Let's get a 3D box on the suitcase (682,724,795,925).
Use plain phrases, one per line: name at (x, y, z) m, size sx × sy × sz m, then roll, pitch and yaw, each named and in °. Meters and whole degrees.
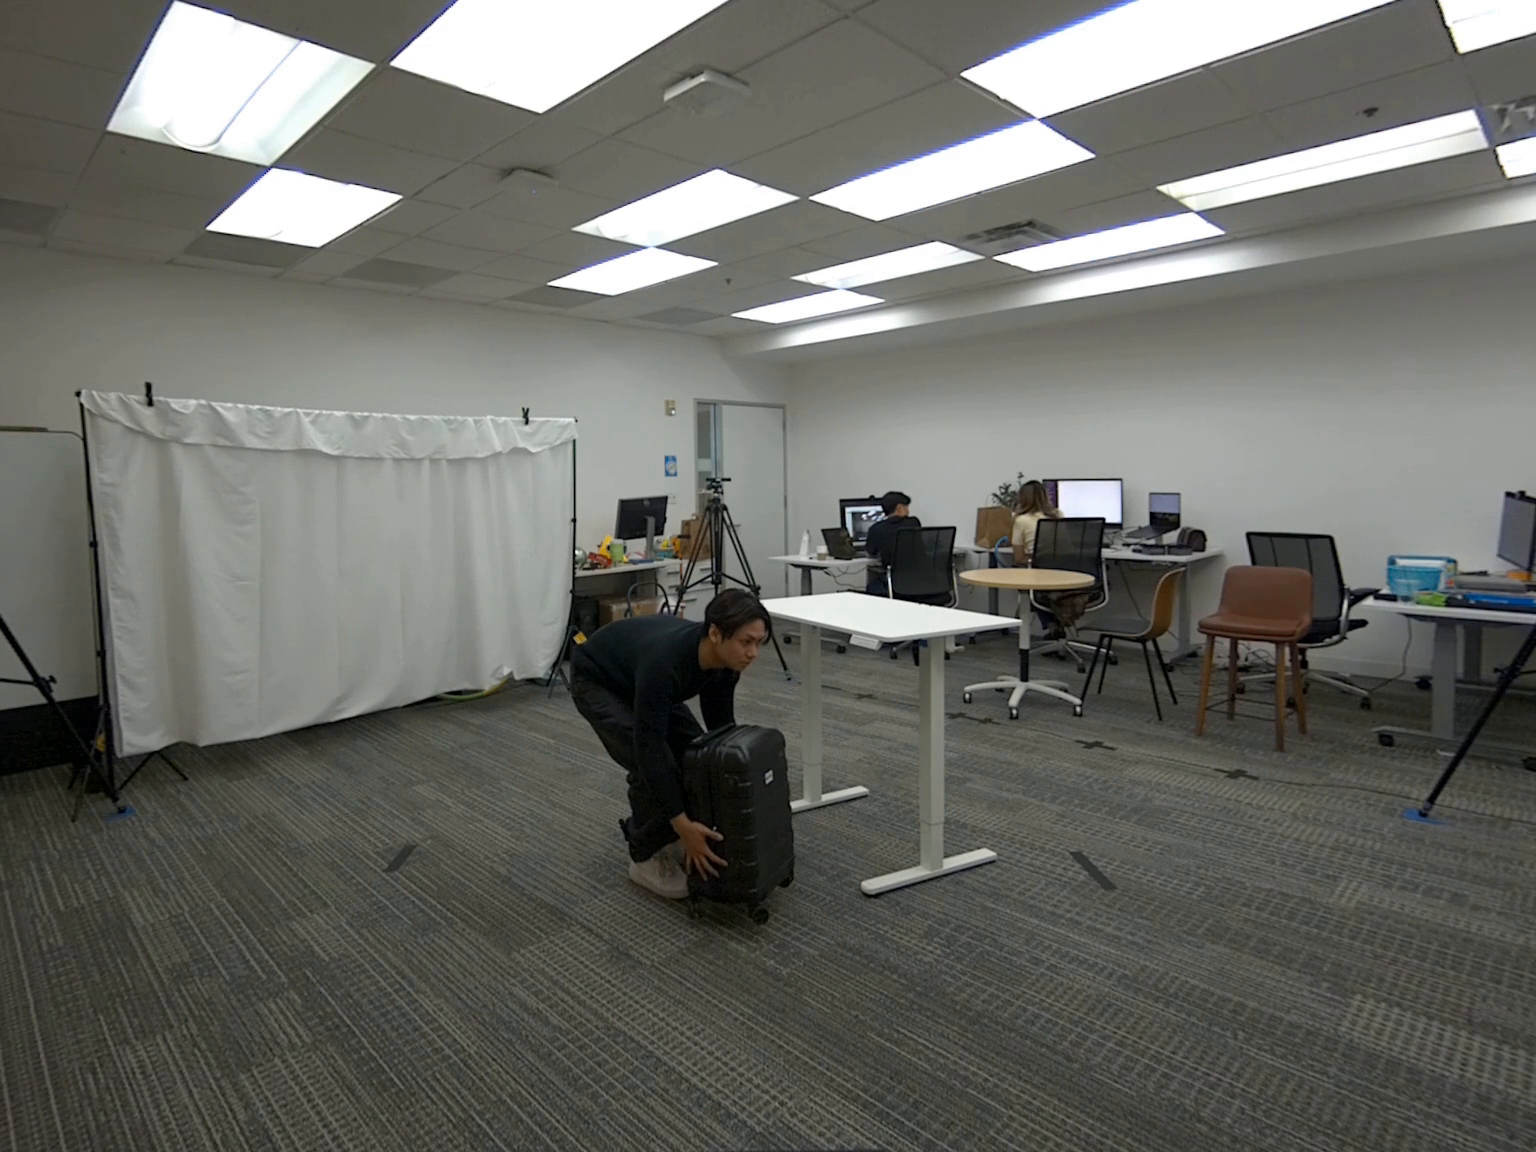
suitcase at (-0.093, 0.770, 2.769) m, size 0.254 × 0.549 × 0.368 m, roll -2°, pitch 2°, yaw 24°
